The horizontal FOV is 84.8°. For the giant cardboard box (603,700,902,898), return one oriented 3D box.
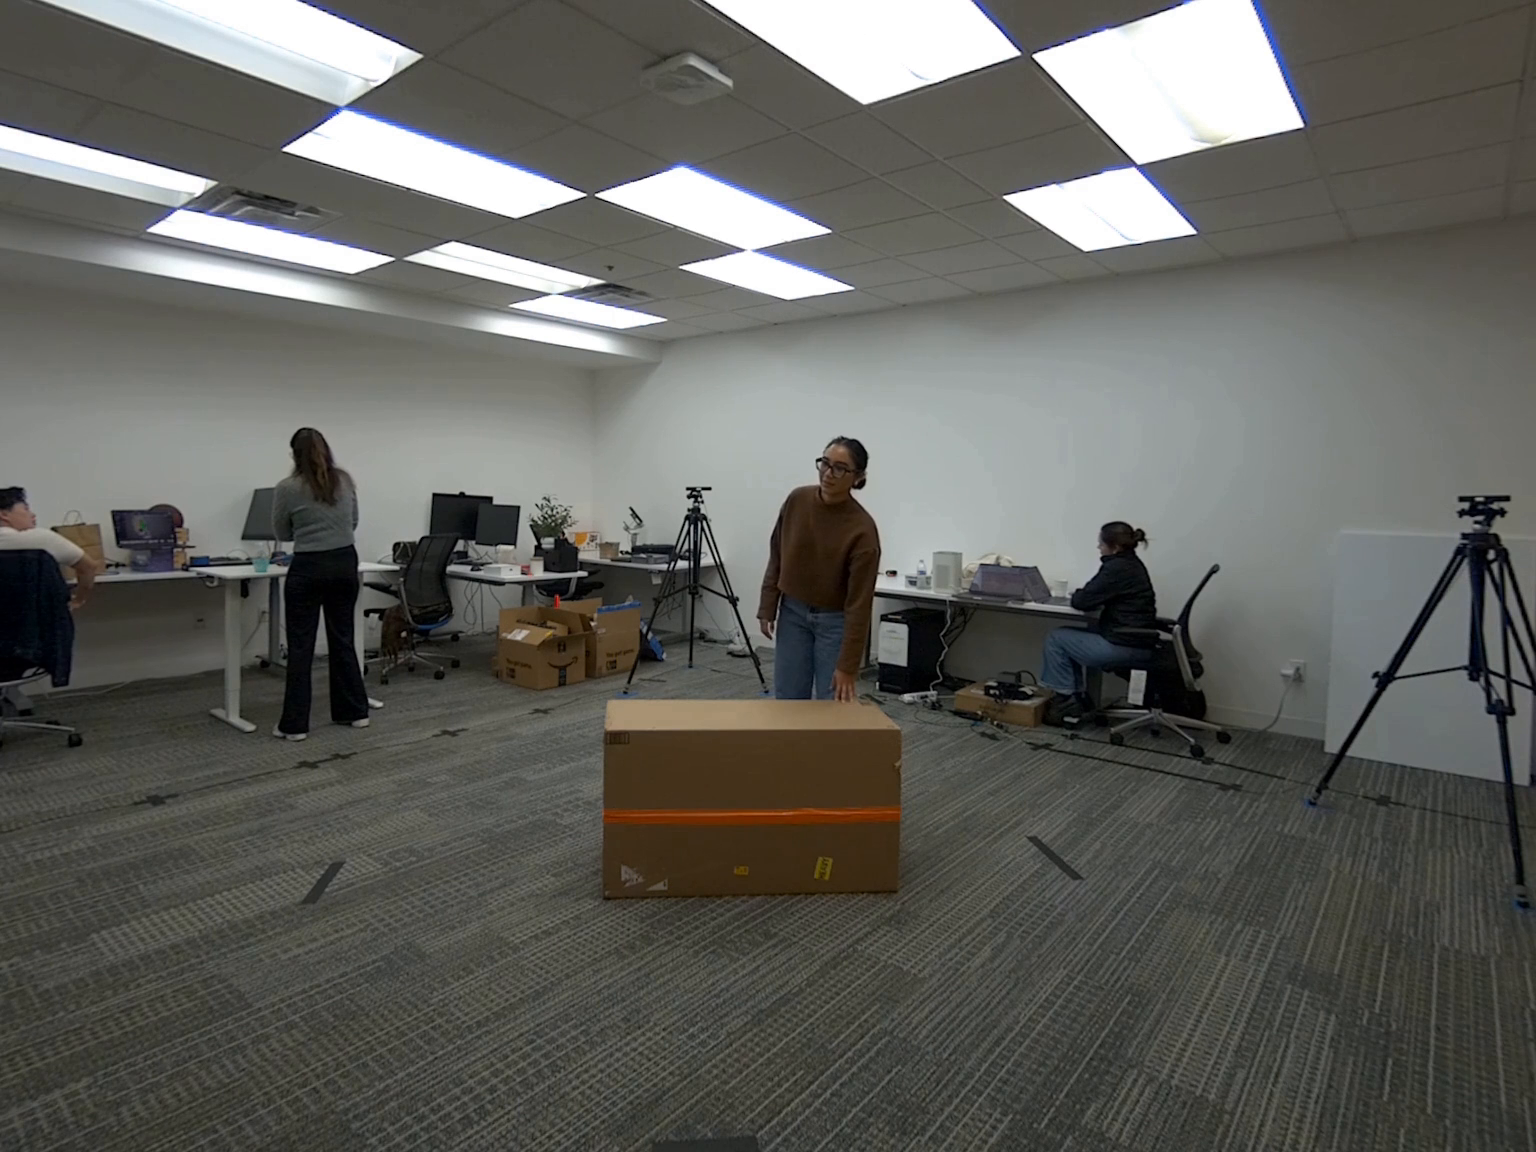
[{"bbox_3d":[-0.089,0.783,3.092,1.022,0.583,0.450,1,2,-5],"label":"giant cardboard box"}]
